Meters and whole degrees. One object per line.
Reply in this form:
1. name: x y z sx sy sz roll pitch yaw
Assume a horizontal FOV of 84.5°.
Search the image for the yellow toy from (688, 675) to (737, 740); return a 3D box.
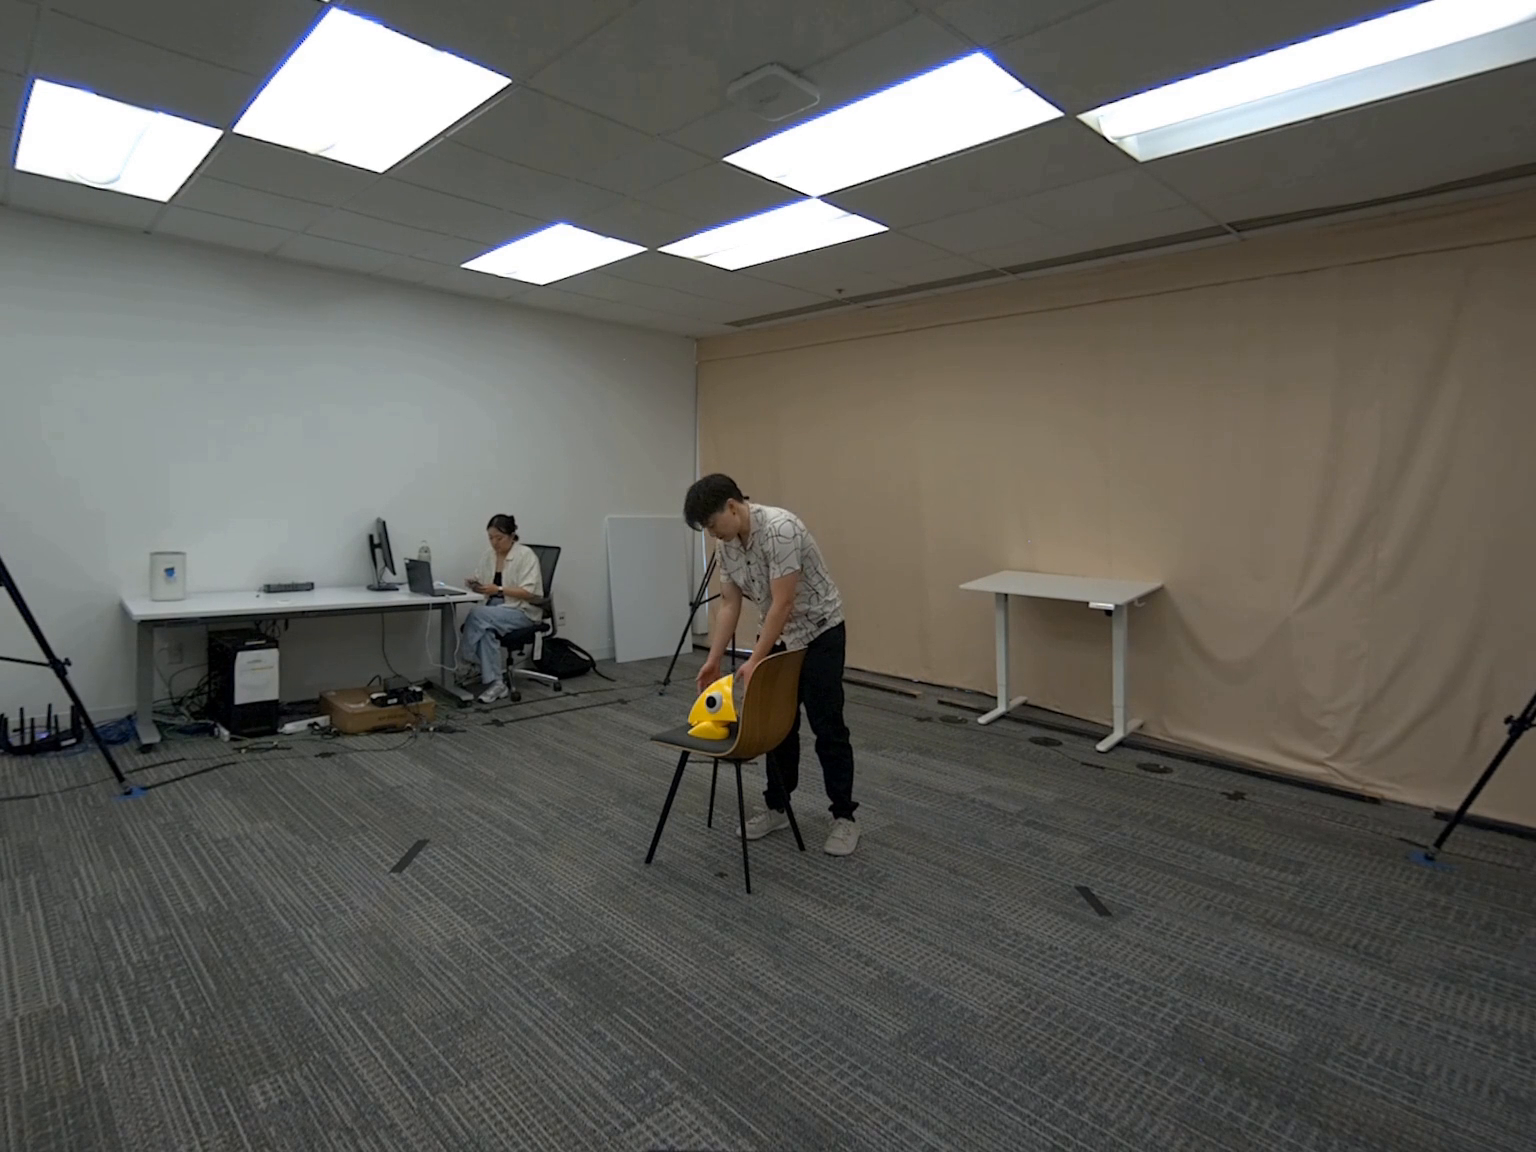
1. yellow toy: -0.212 0.490 3.279 0.193 0.230 0.206 5 5 -2
